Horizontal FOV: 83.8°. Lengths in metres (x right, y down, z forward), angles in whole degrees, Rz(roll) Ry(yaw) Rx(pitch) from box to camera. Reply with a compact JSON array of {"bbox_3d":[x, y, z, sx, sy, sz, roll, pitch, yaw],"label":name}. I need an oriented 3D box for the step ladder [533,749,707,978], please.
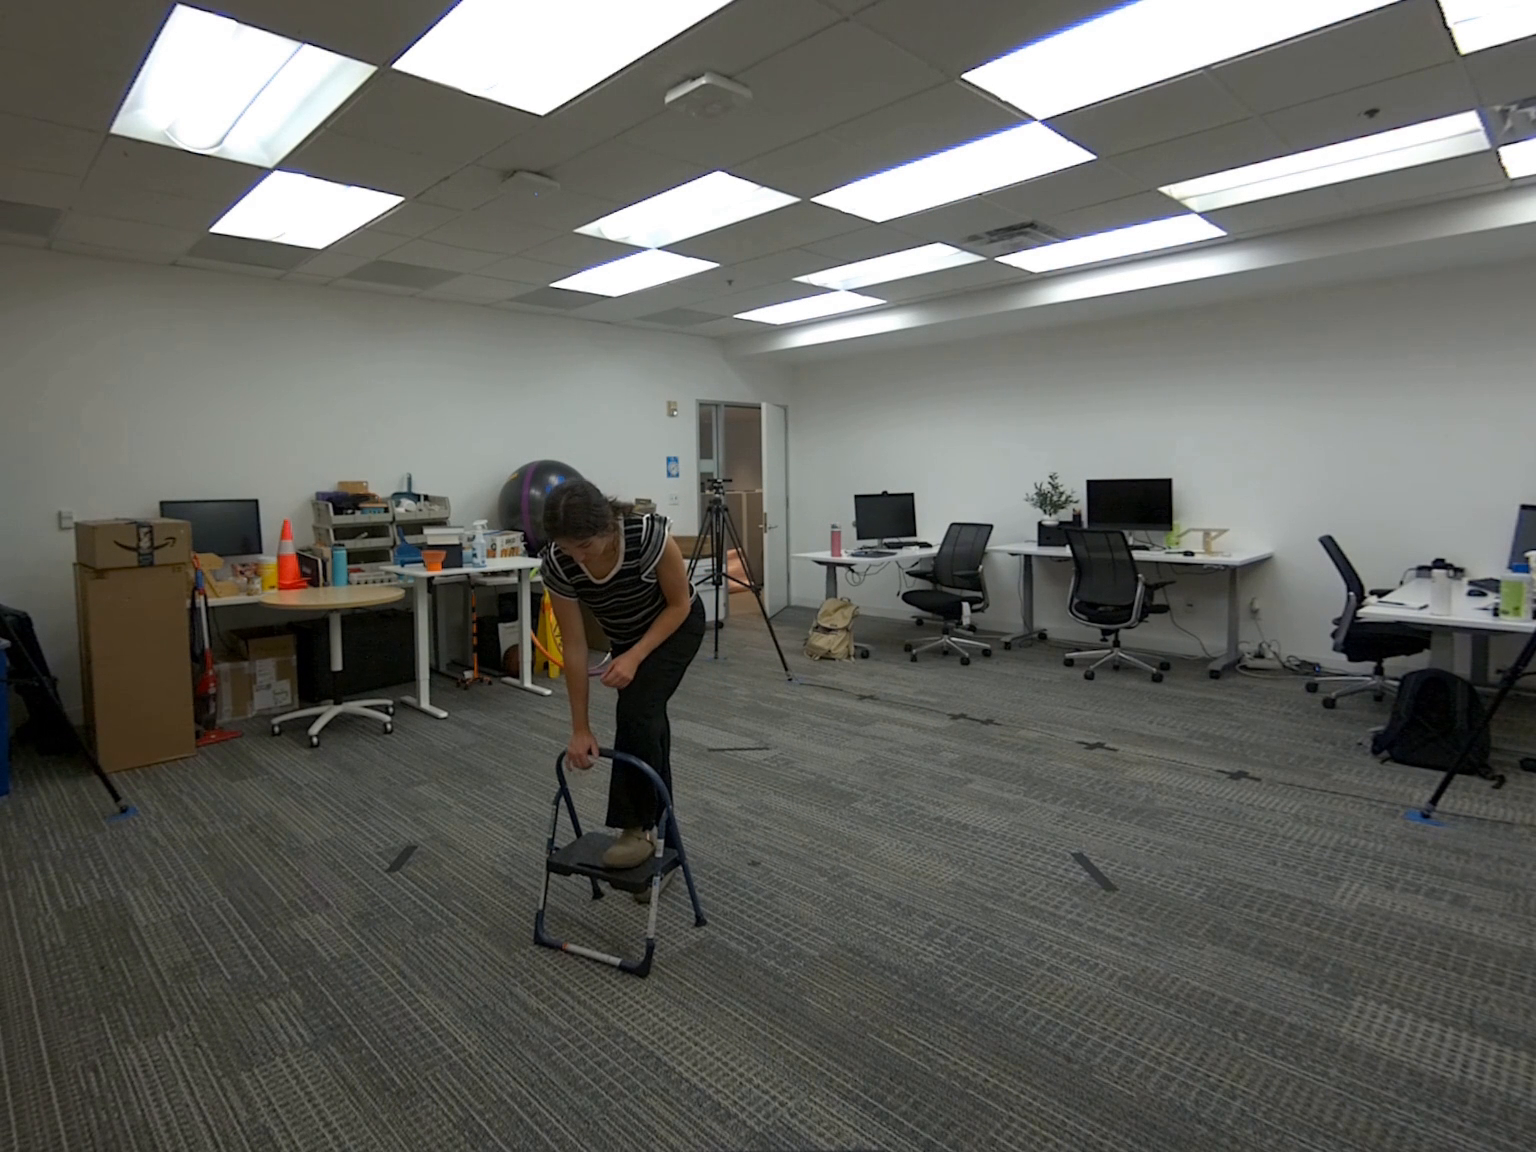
[{"bbox_3d":[-0.462,0.807,2.629,0.441,0.603,0.343,2,6,26],"label":"step ladder"}]
